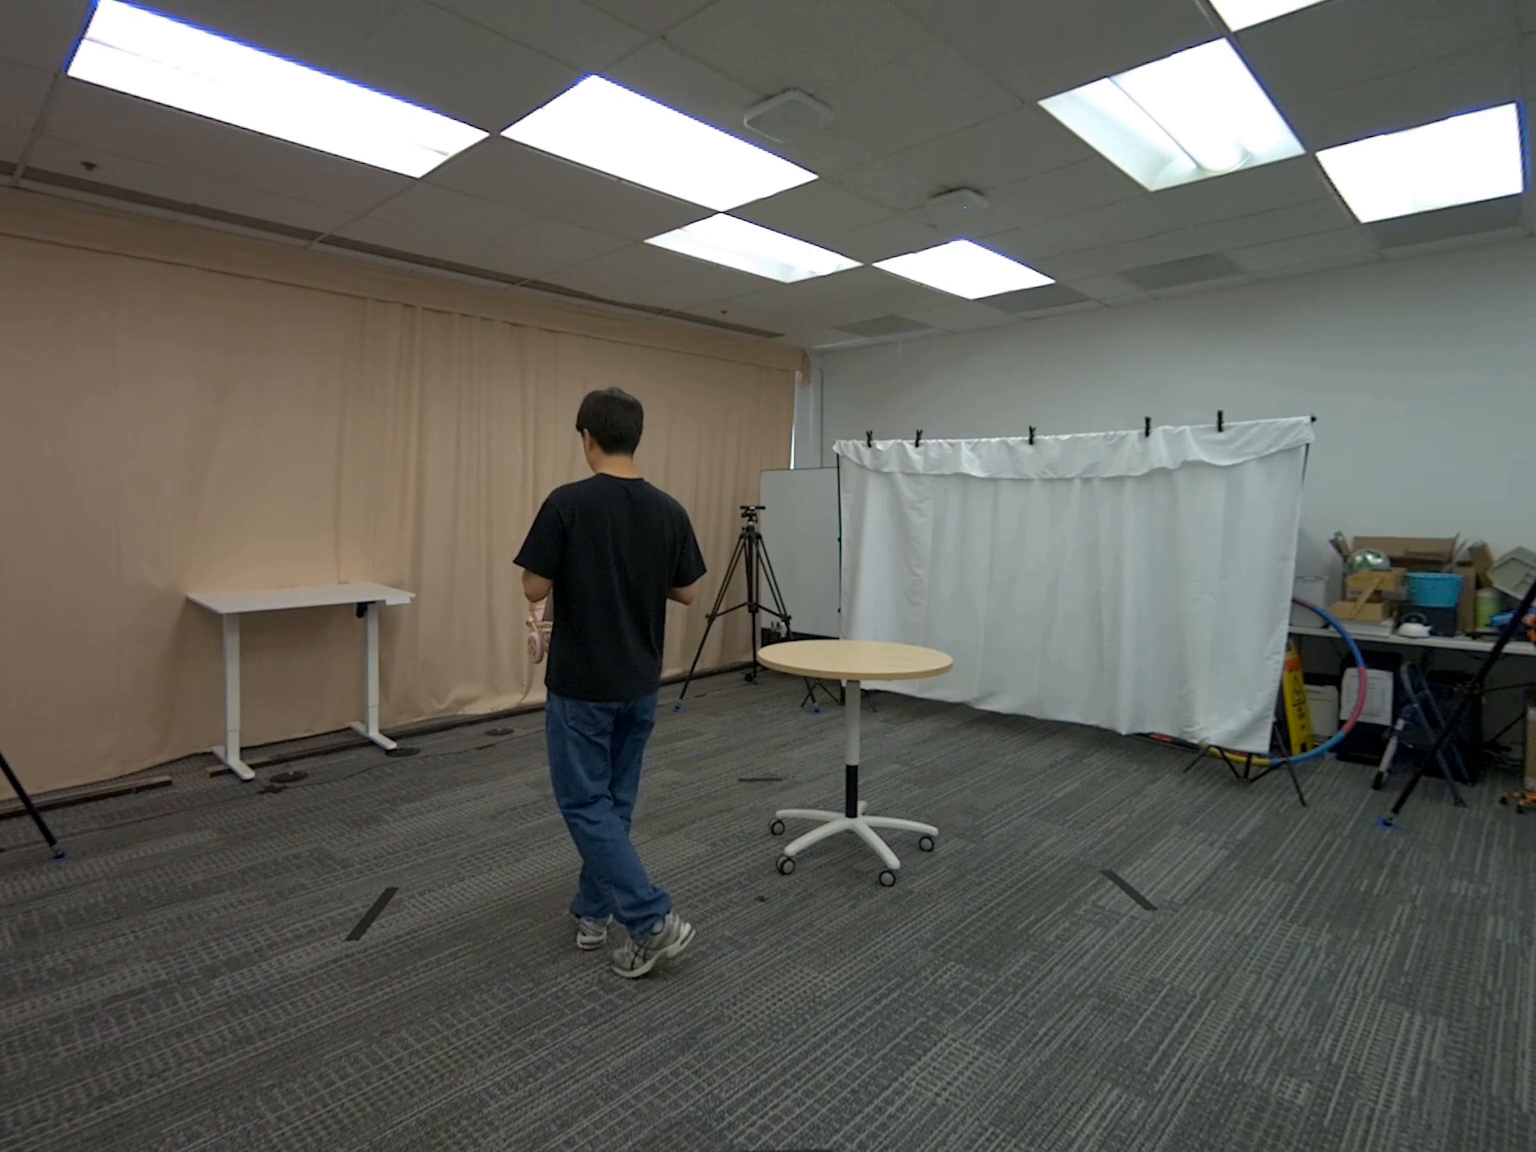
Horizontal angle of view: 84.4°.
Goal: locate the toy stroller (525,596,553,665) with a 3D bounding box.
[{"bbox_3d":[-0.718,0.064,2.996,0.274,0.531,0.353,1,19,-29],"label":"toy stroller"}]
